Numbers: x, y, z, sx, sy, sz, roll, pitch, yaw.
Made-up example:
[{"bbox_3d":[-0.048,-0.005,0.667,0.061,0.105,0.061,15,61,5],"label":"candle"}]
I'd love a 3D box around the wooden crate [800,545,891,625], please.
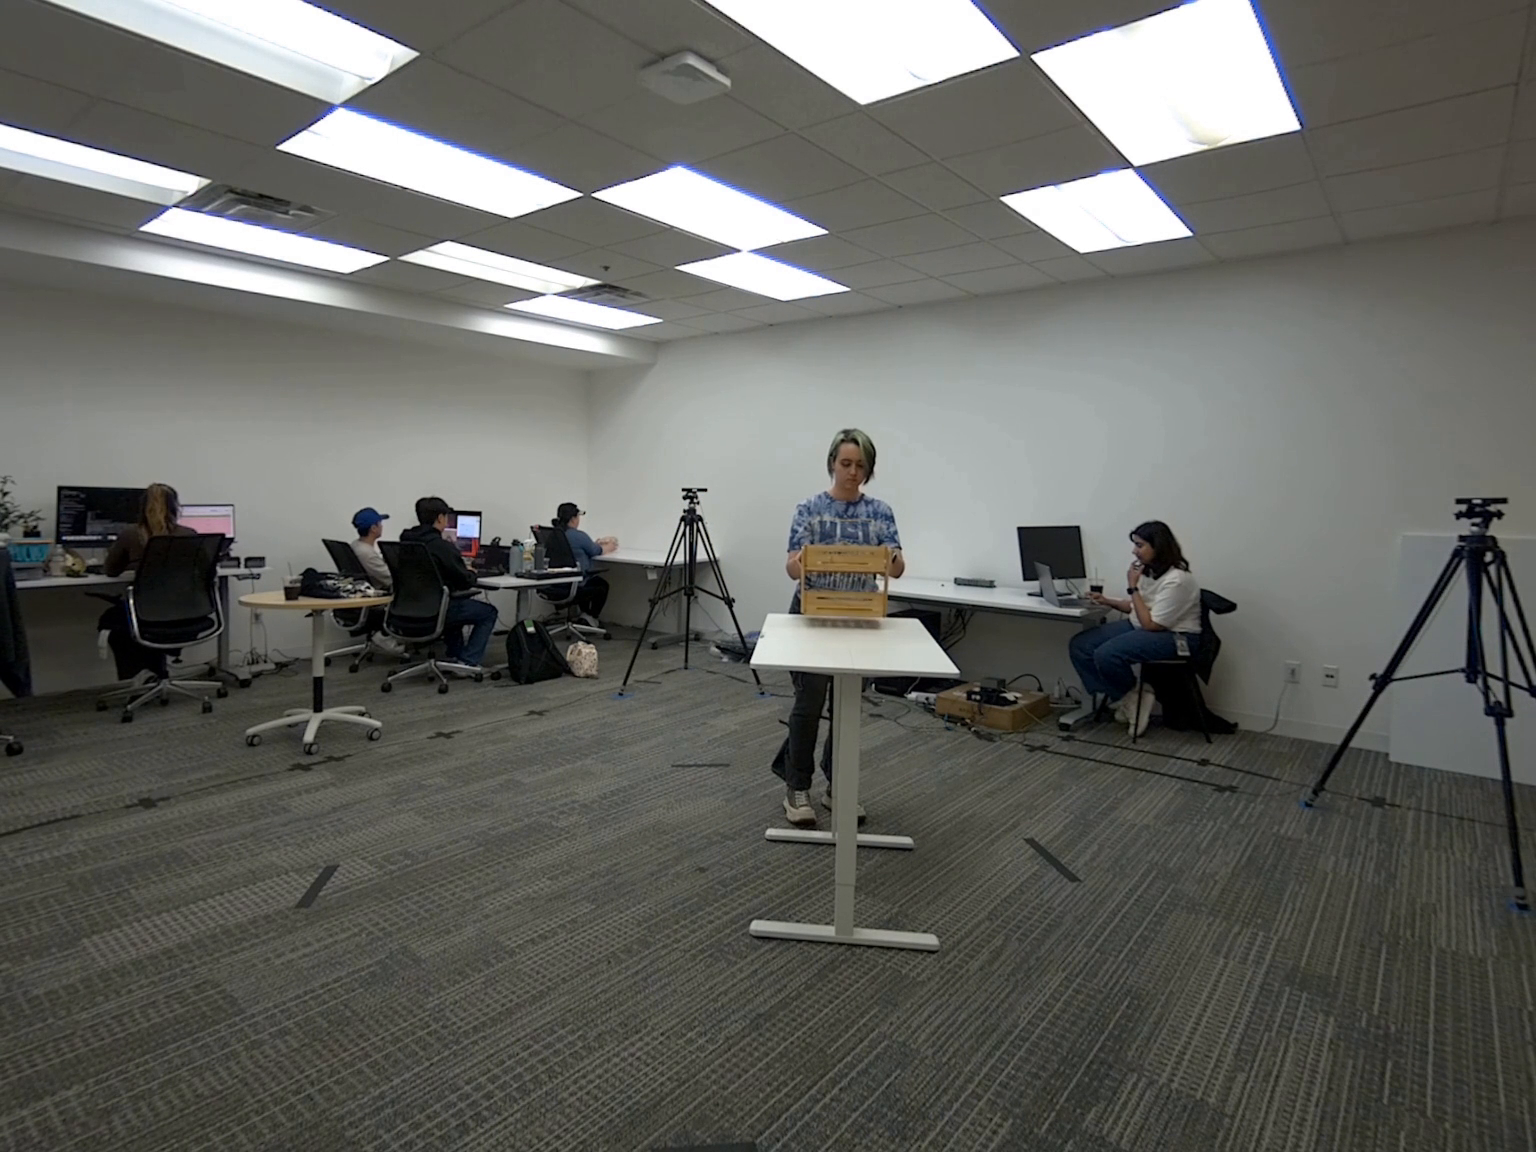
[{"bbox_3d":[0.288,0.019,3.264,0.327,0.275,0.298,2,-4,6],"label":"wooden crate"}]
